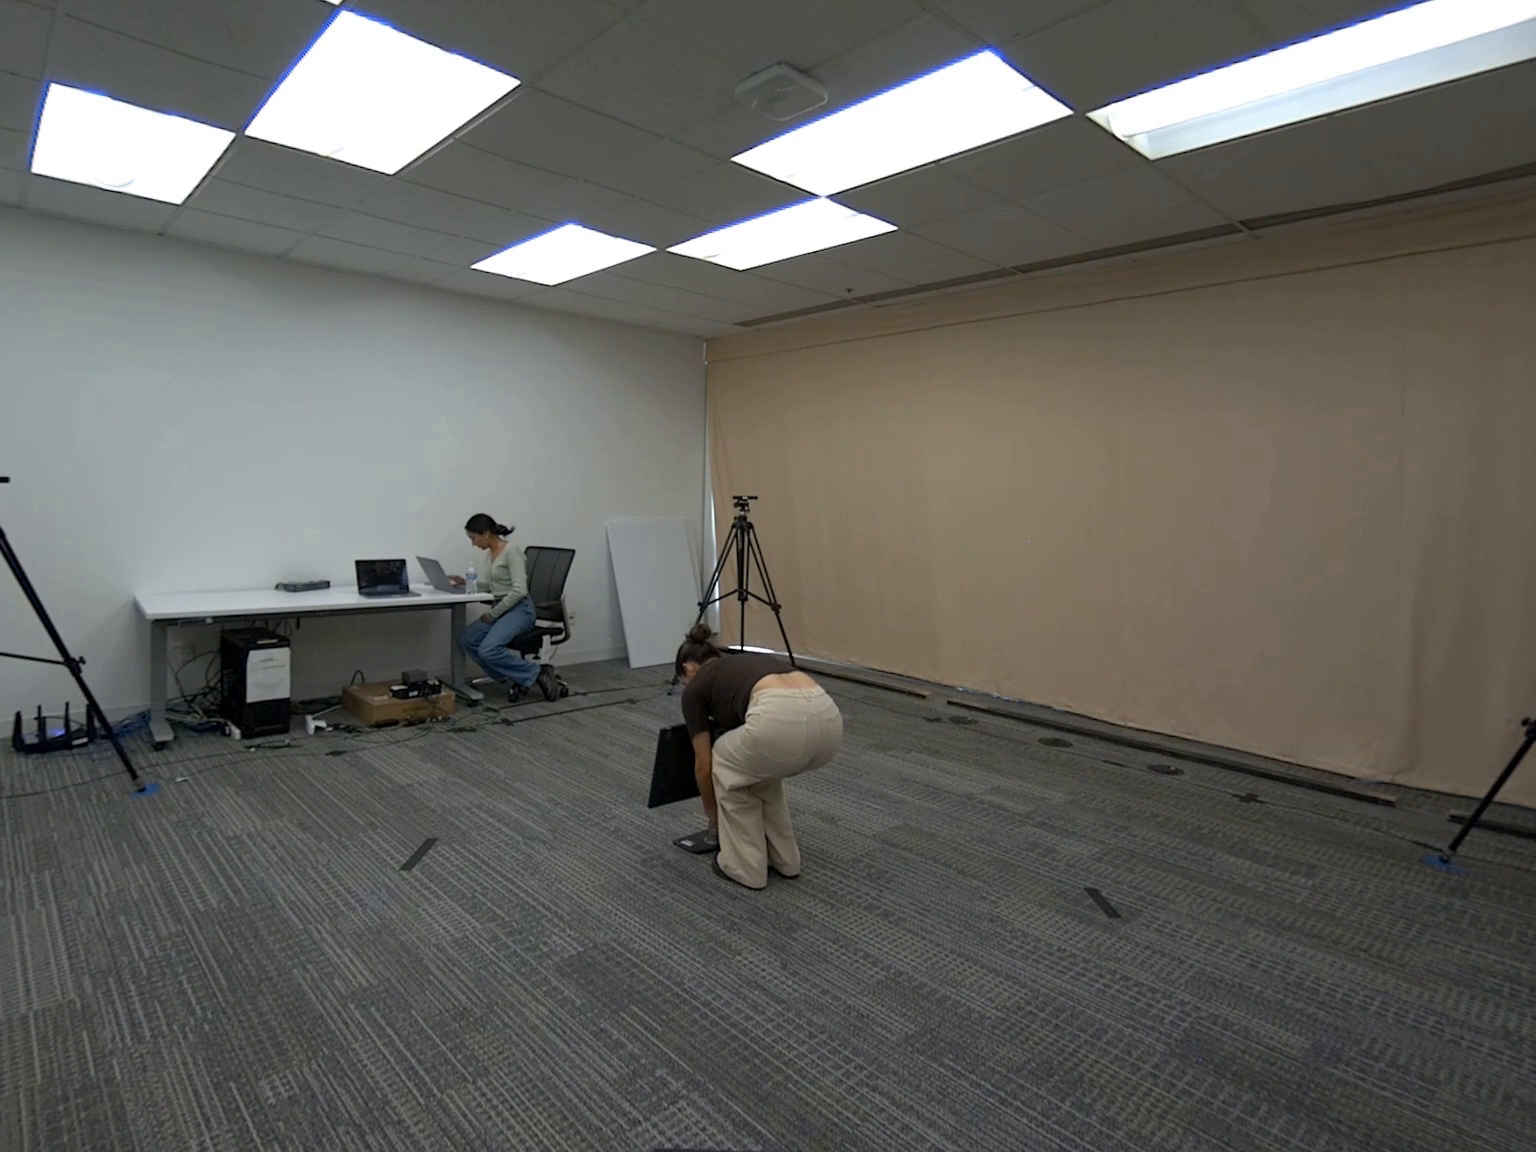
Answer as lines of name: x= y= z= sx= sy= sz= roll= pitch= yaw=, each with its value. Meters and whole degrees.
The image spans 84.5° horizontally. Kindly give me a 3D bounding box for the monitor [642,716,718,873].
monitor: x=-0.221 y=0.828 z=3.390 sx=0.527 sy=0.521 sz=0.192 roll=-3 pitch=6 yaw=-38
